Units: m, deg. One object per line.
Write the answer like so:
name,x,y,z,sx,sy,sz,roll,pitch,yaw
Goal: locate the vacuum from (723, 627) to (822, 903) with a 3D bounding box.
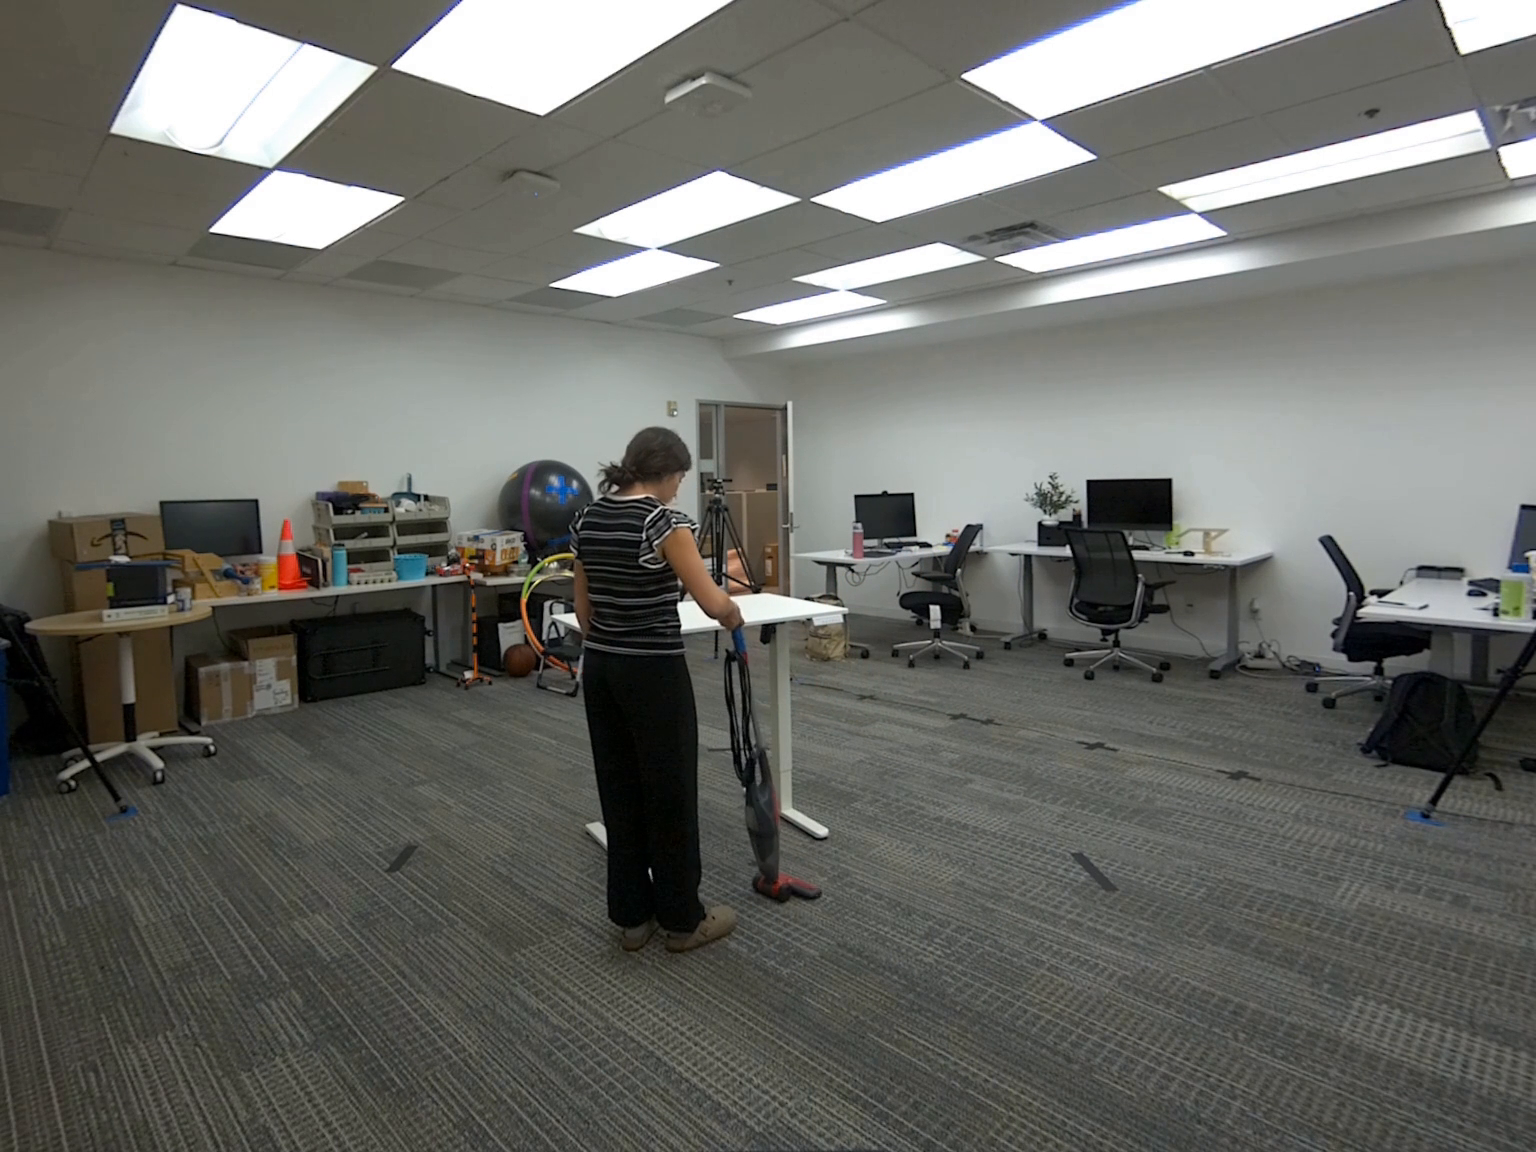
vacuum,-0.053,0.582,2.772,0.260,1.033,0.142,3,20,44
